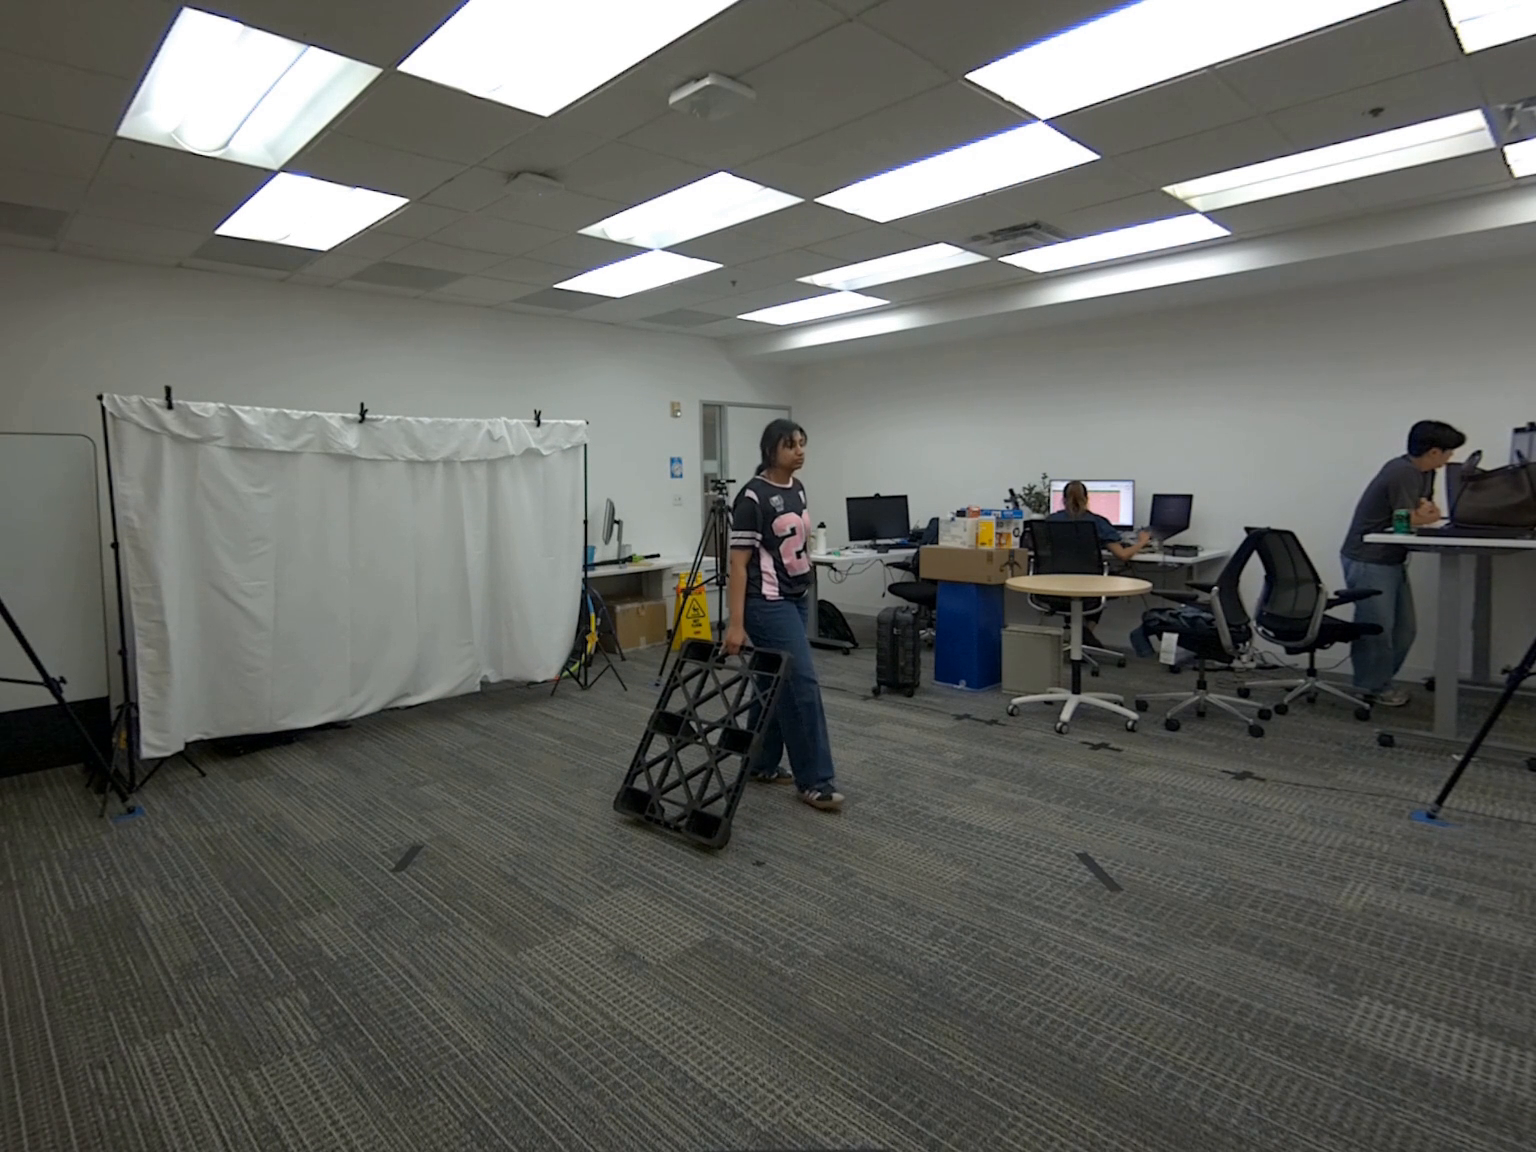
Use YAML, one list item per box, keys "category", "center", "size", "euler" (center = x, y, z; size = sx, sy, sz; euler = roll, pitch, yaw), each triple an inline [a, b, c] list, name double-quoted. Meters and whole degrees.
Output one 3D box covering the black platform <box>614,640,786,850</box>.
- category: "black platform"
  center: [-0.247, 0.665, 3.527]
  size: [0.623, 0.813, 0.138]
  euler: [1, -29, 41]
